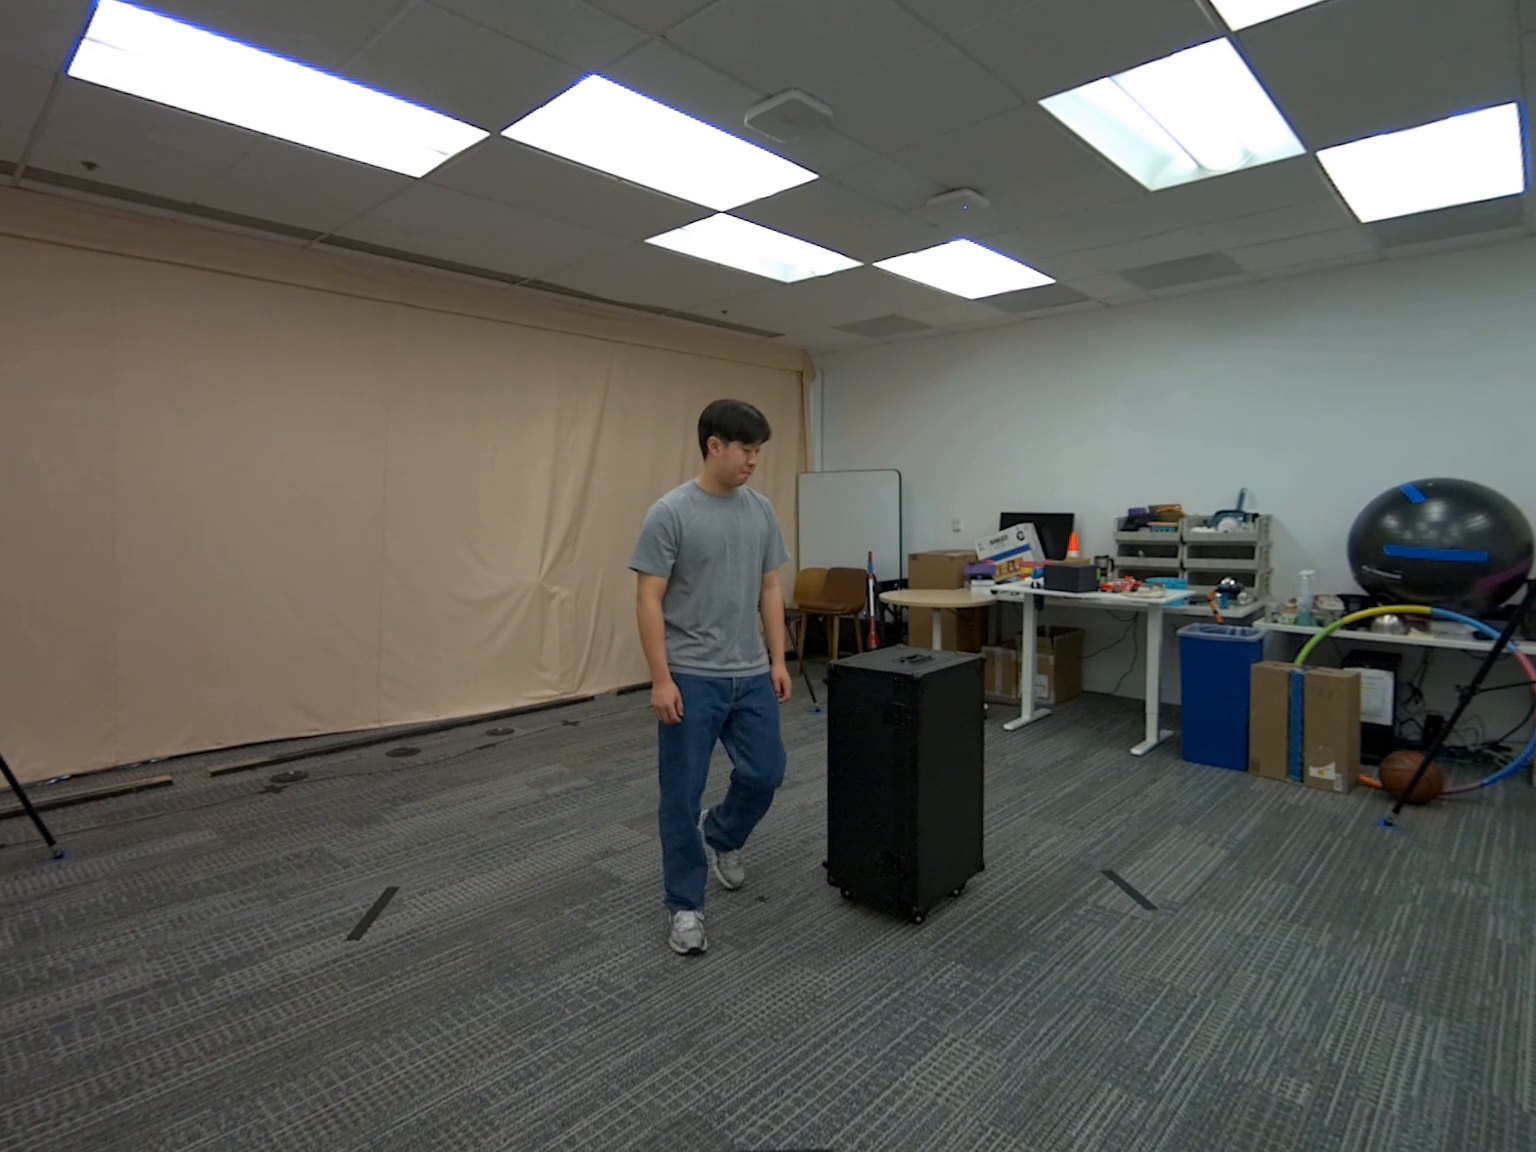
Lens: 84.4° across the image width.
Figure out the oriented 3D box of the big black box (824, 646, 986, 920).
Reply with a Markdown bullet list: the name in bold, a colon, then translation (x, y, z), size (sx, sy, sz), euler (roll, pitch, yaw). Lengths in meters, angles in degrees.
- **big black box**: translation (0.492, 0.719, 2.987), size (0.409, 0.860, 0.505), euler (2, 4, 41)
